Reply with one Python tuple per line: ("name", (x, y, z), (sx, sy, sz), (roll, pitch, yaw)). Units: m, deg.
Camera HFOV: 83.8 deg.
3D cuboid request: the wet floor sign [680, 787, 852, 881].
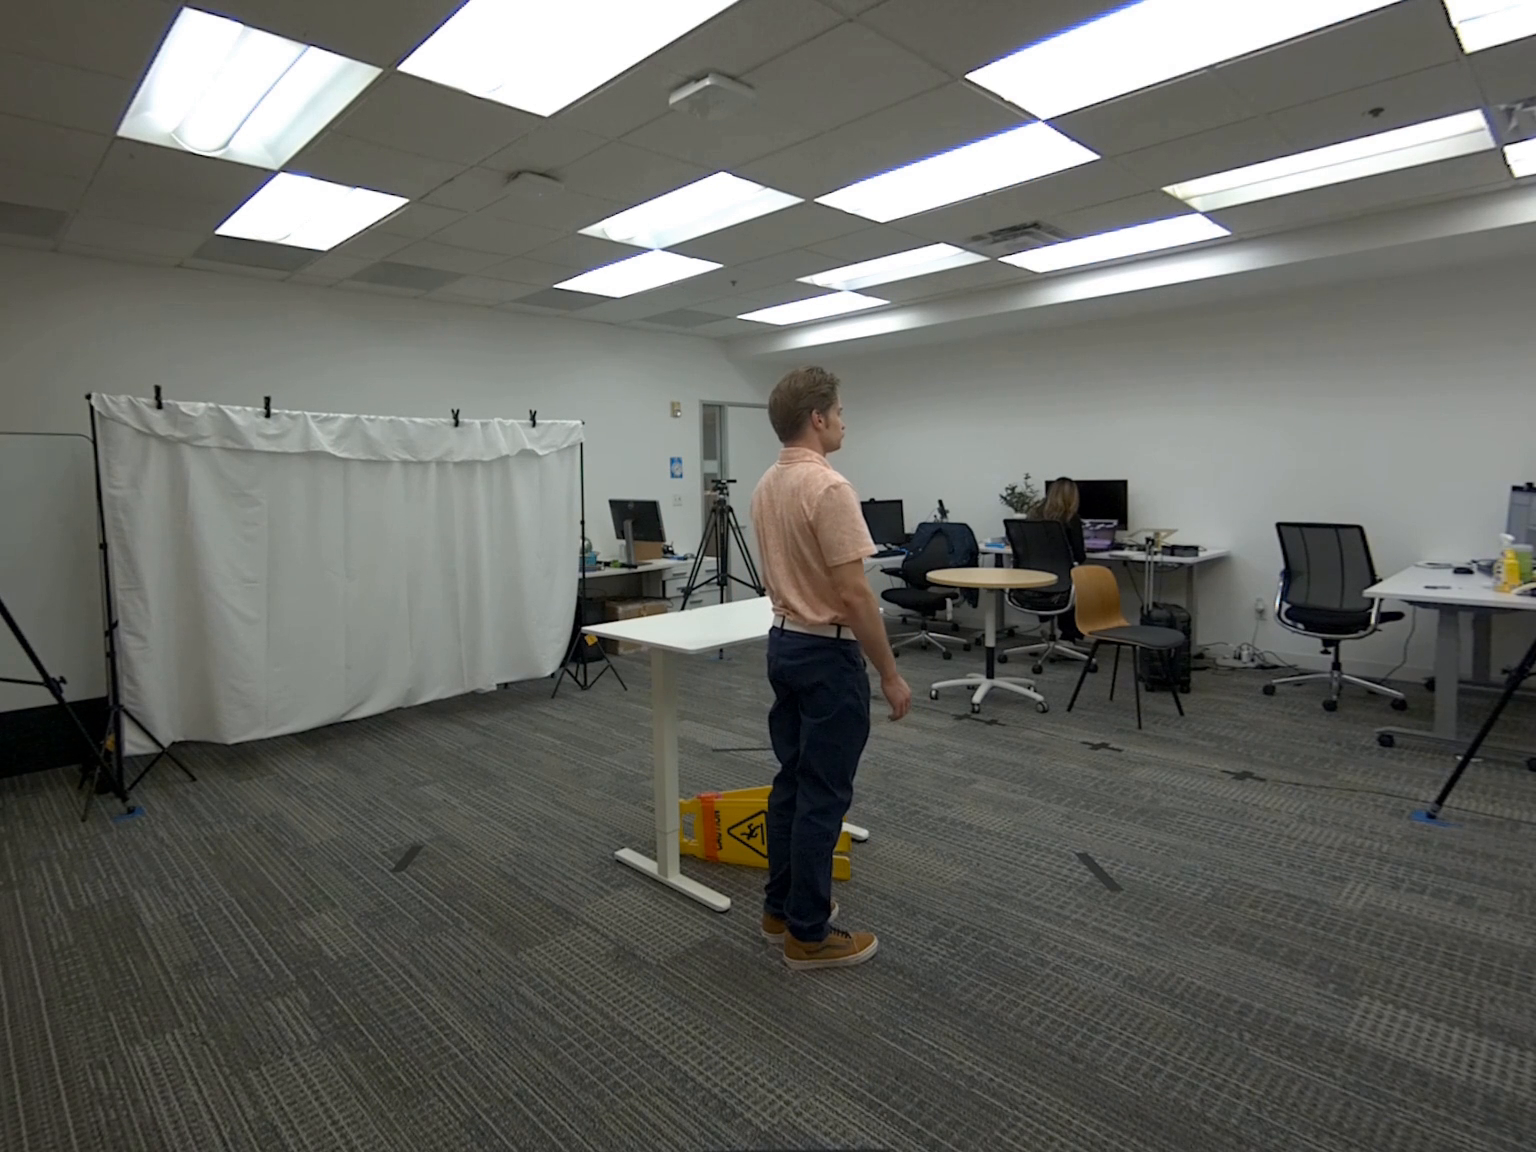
("wet floor sign", (-0.033, 0.916, 3.133), (0.652, 0.281, 0.288), (-4, 5, 10))
